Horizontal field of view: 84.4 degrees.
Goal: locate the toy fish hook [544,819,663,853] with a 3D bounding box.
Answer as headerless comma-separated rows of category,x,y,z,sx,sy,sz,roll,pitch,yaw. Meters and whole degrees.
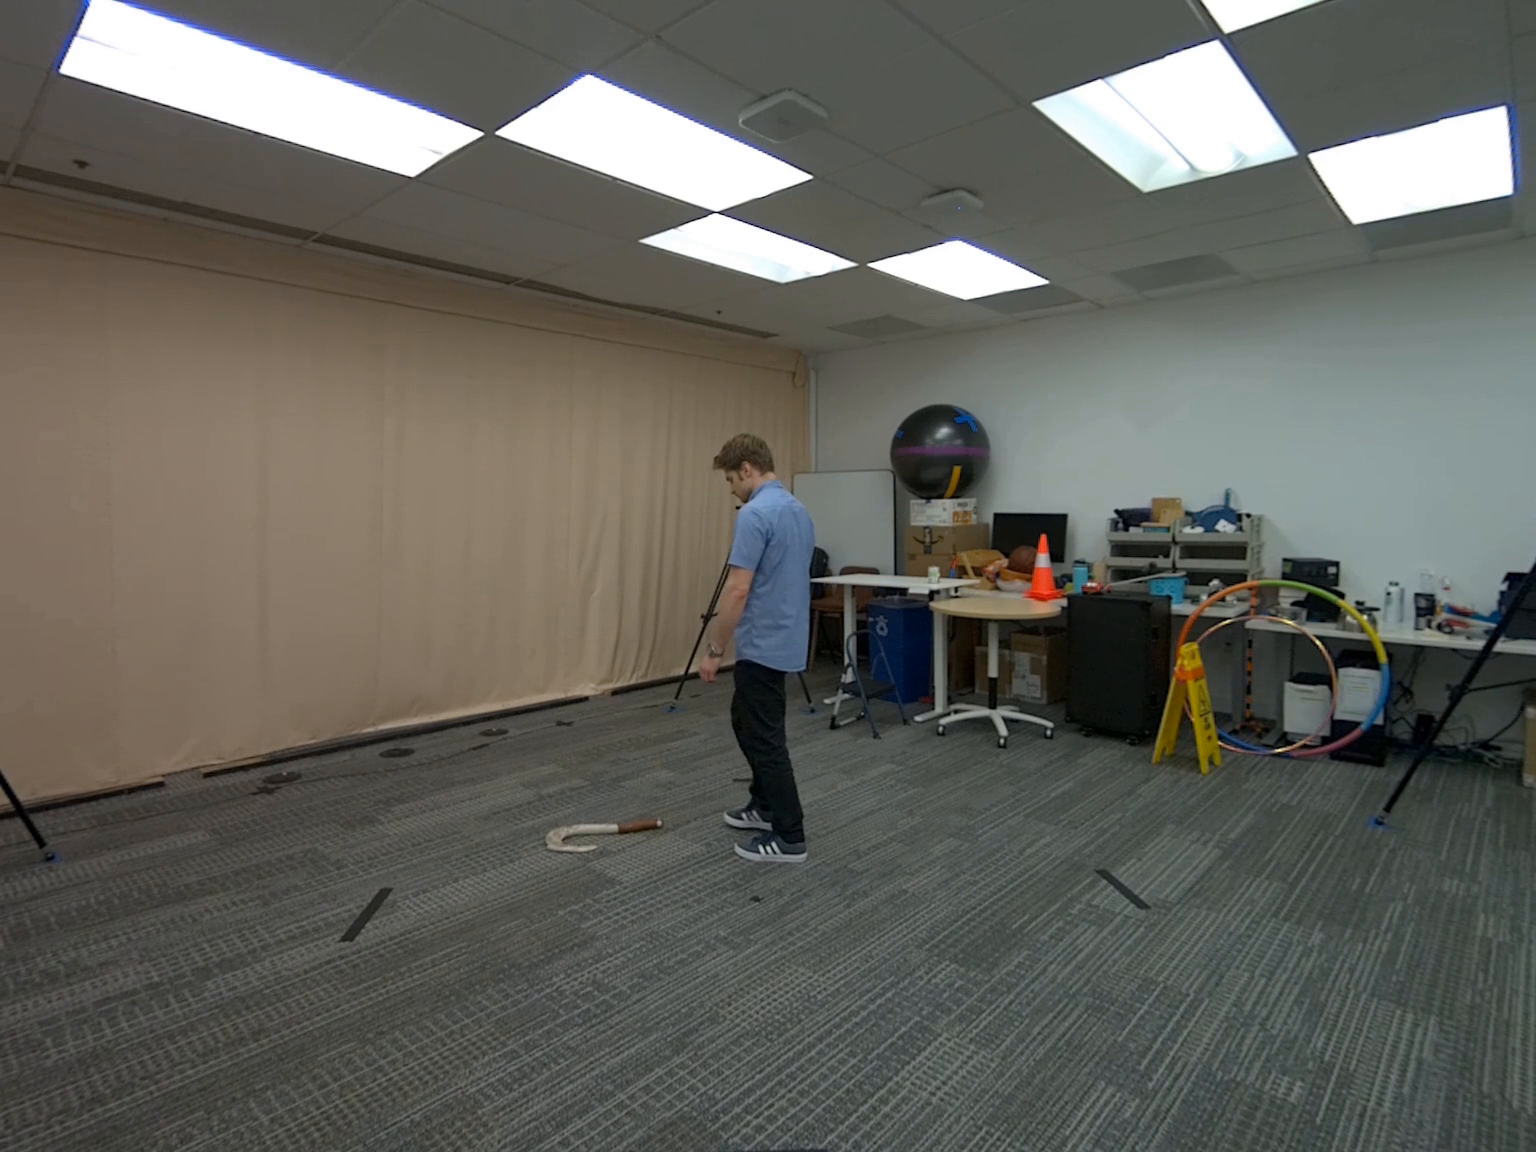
toy fish hook,-0.678,1.092,3.536,0.497,0.048,0.230,-3,13,-18
